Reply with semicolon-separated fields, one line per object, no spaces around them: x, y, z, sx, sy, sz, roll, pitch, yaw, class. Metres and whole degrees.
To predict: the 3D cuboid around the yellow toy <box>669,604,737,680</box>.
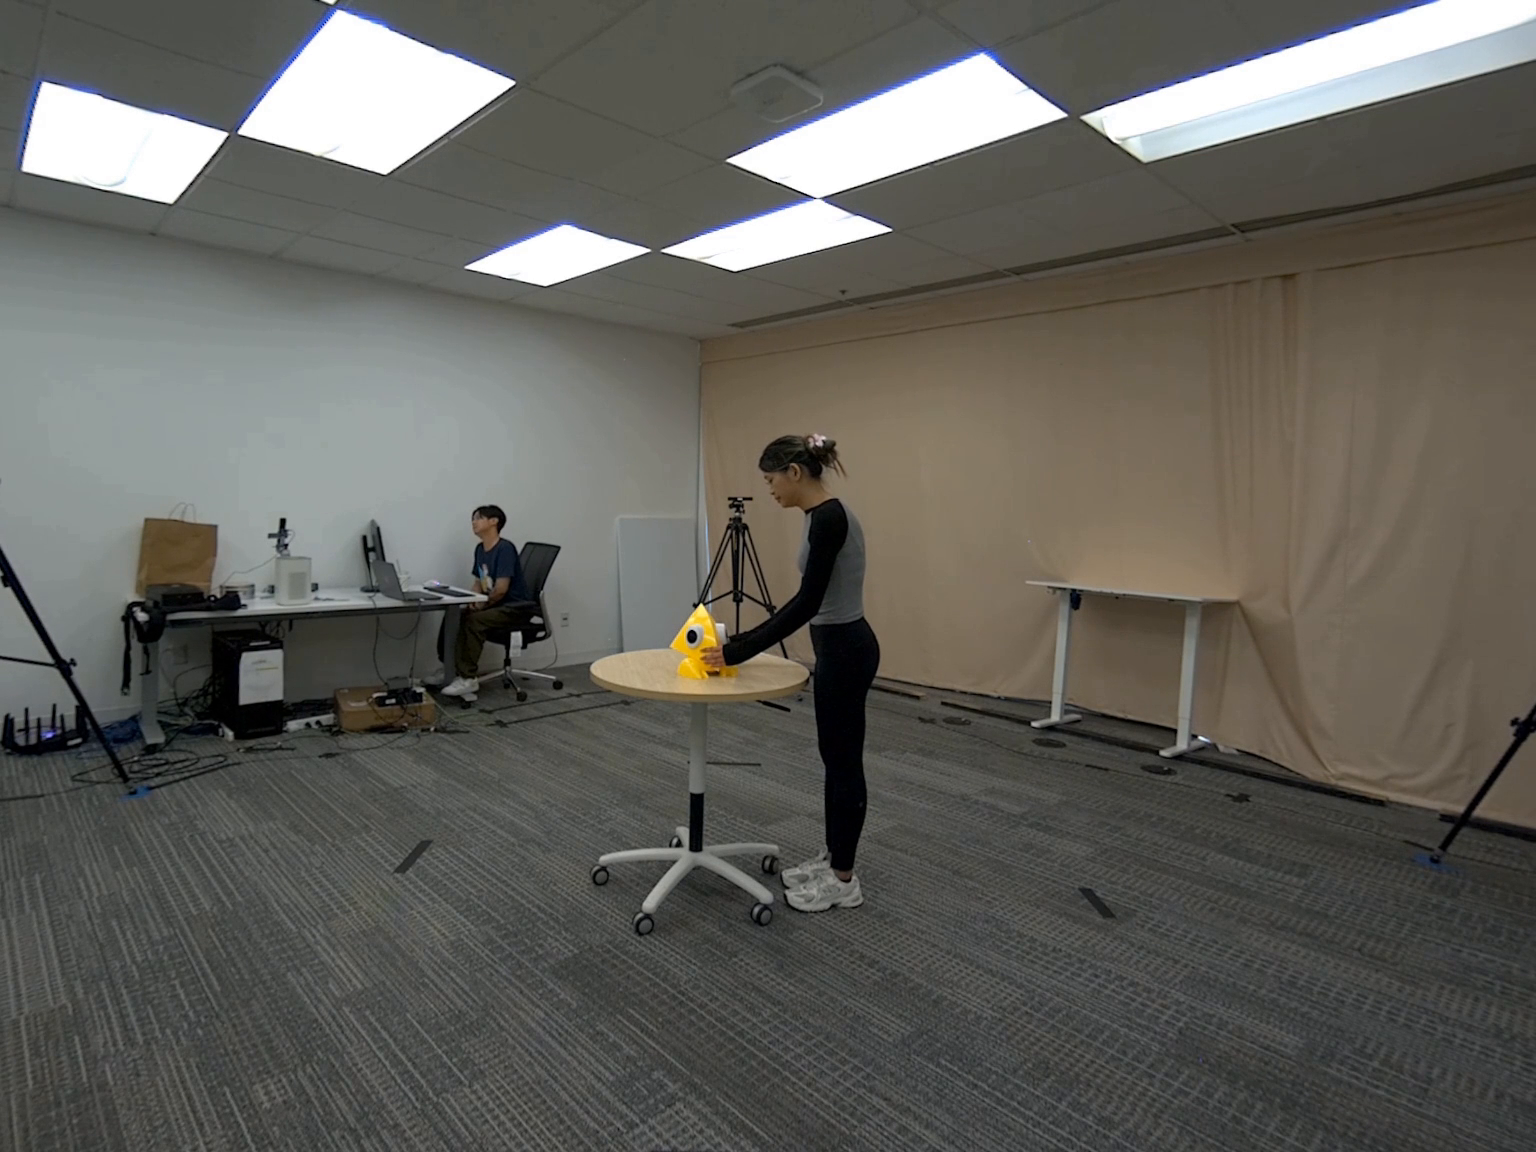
-0.210;0.219;2.883;0.201;0.230;0.197;-1;7;-27;yellow toy
